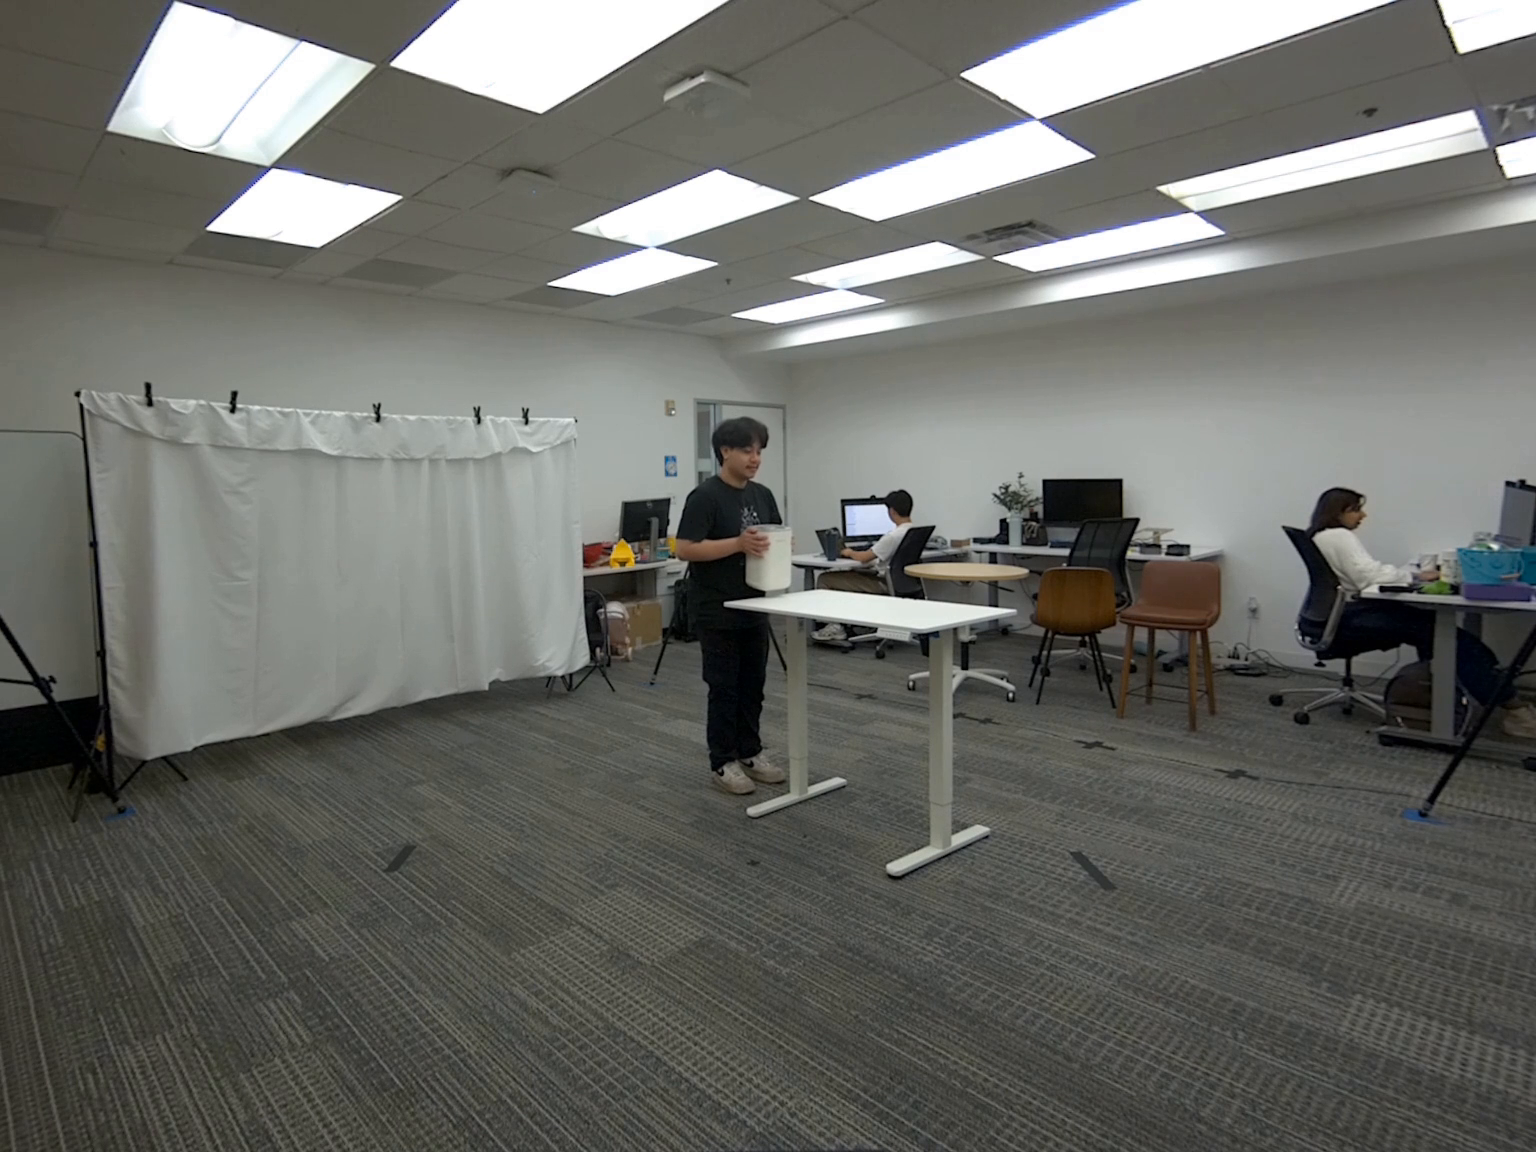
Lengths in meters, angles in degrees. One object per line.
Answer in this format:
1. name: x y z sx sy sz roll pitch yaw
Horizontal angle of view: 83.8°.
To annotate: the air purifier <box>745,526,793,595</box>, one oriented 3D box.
1. air purifier: -0.008 -0.078 3.734 0.167 0.263 0.177 -7 14 -39
